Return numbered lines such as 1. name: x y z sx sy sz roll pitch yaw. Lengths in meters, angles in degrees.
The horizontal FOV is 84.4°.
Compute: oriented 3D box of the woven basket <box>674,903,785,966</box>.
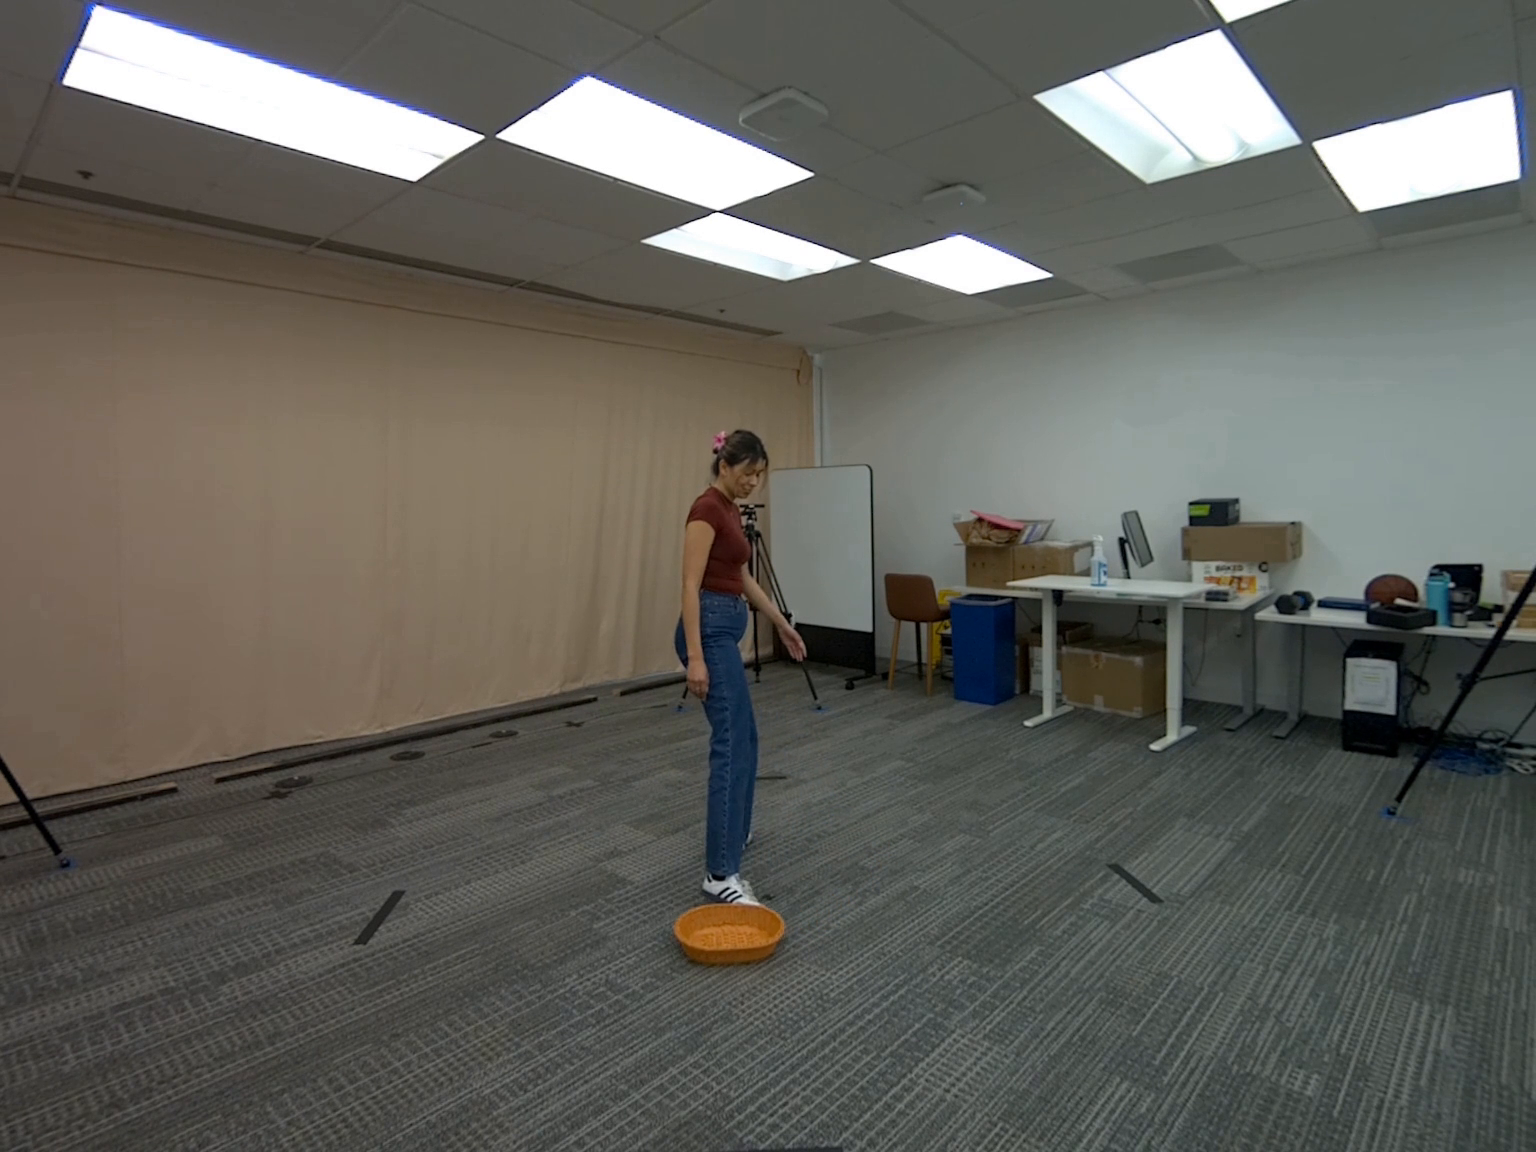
1. woven basket: -0.117 1.119 2.644 0.348 0.073 0.255 -1 8 -6
